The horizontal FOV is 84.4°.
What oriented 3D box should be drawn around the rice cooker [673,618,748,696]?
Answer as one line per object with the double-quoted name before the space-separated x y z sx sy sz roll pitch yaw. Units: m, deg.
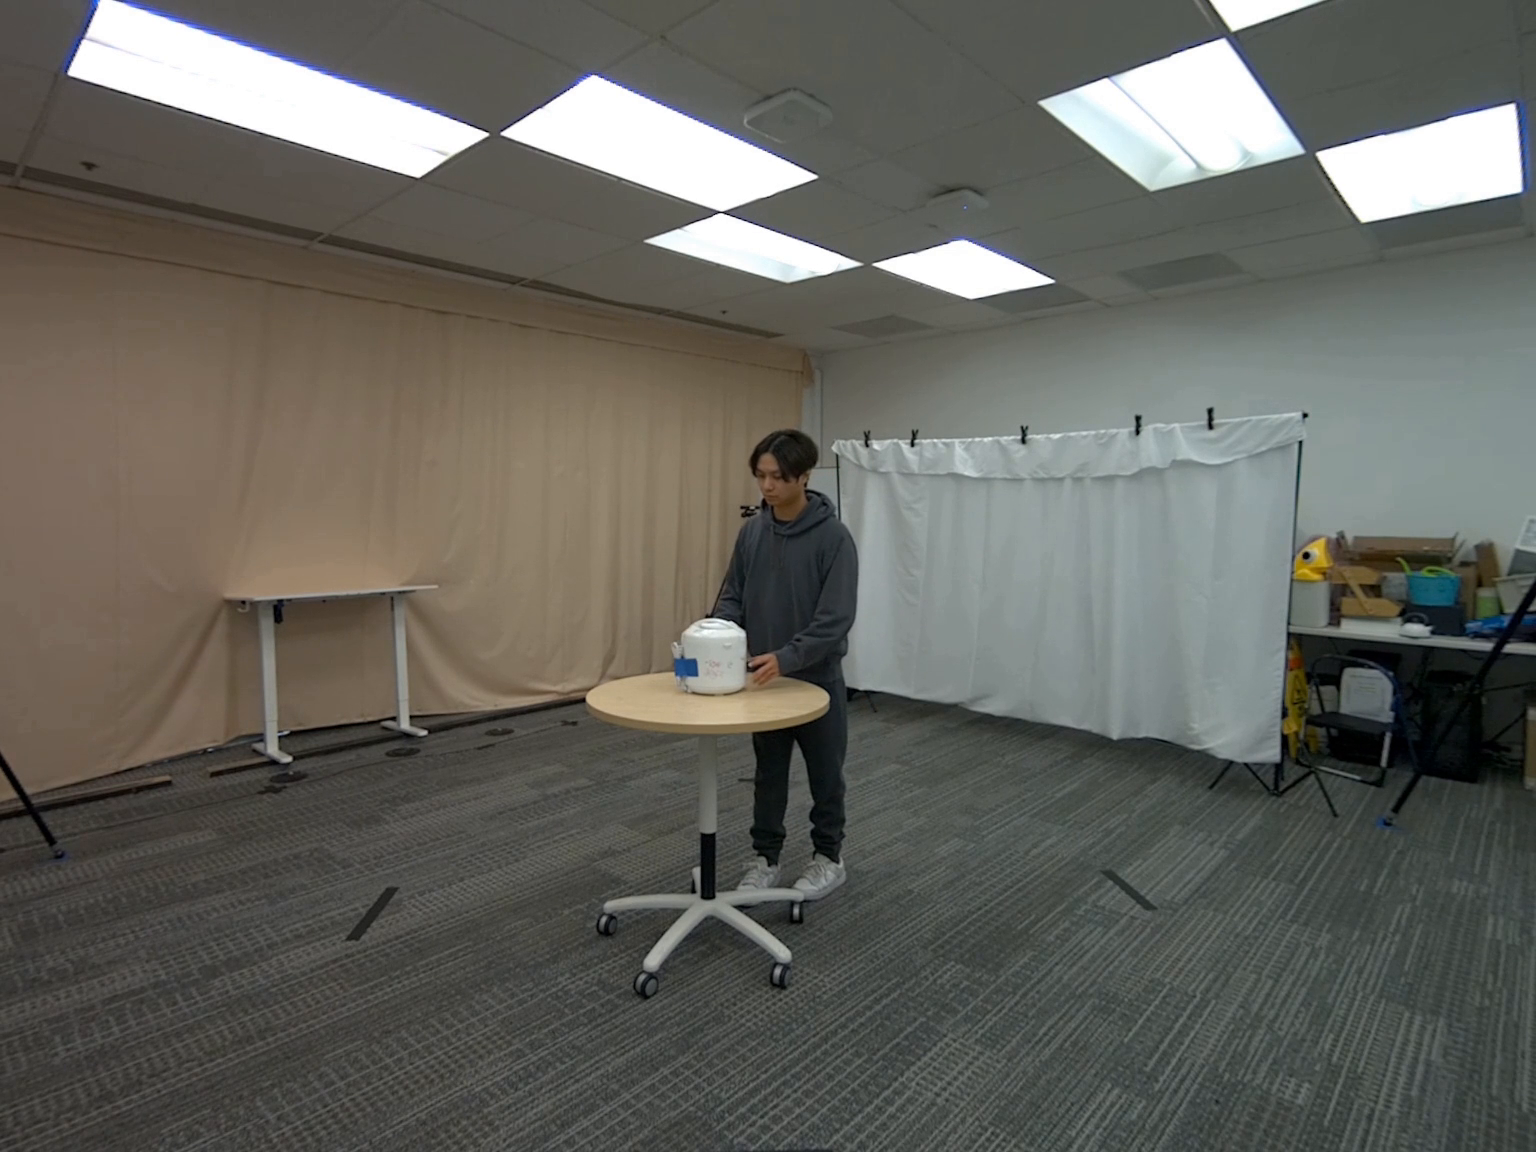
"rice cooker" -0.177 0.257 2.722 0.226 0.232 0.212 1 3 27
